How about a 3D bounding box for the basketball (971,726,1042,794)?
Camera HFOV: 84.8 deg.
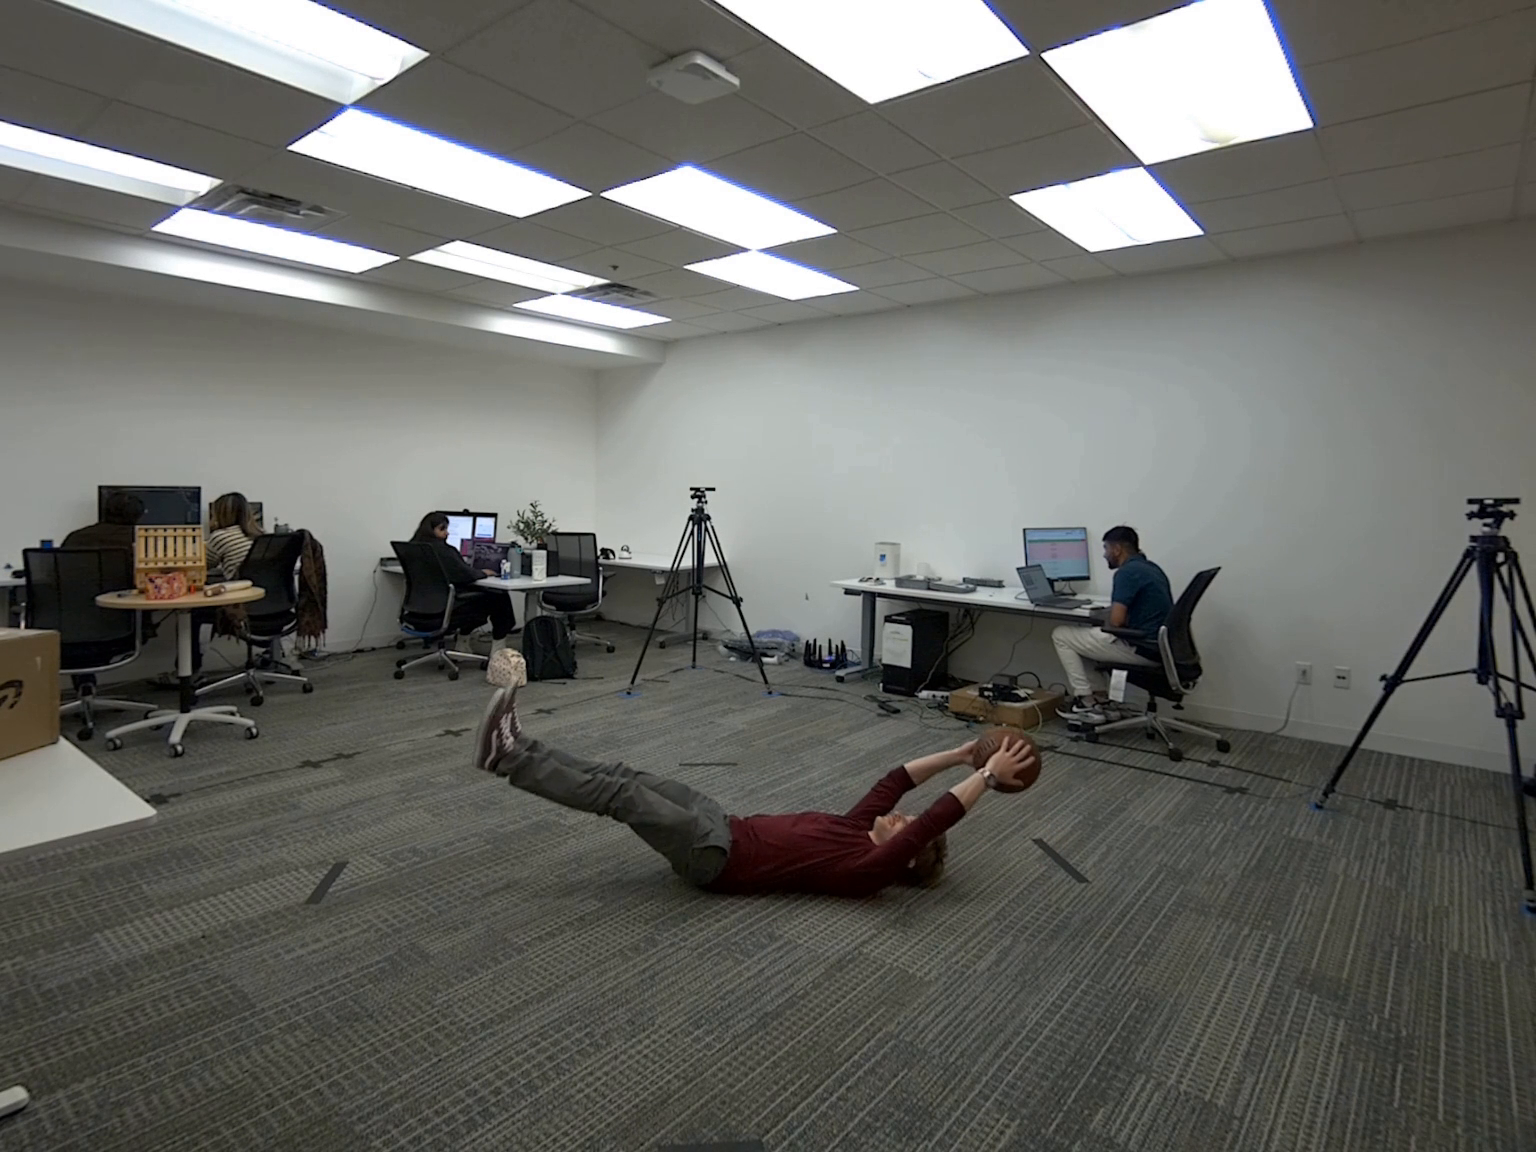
[{"bbox_3d":[0.855,0.662,3.099,0.235,0.235,0.237,1,4,-2],"label":"basketball"}]
